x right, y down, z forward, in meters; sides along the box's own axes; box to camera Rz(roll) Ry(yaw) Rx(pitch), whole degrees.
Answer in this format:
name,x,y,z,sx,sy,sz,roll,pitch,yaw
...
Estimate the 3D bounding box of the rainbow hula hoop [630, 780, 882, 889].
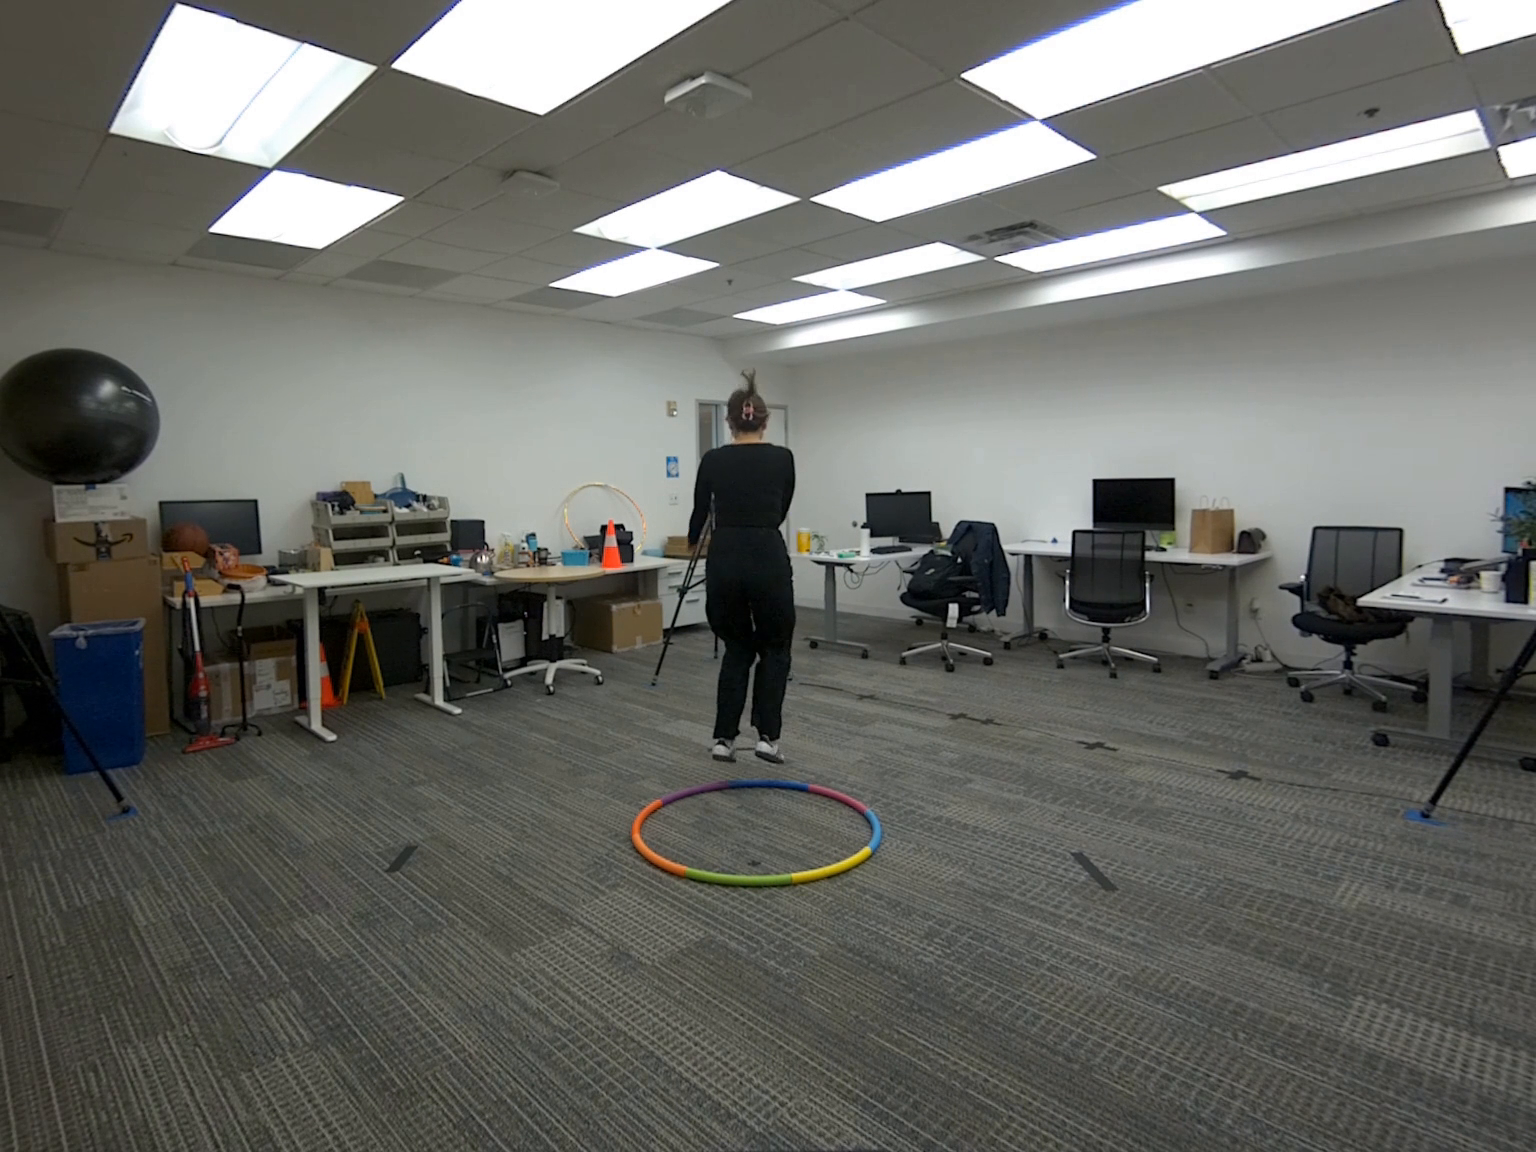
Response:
name,x,y,z,sx,sy,sz,roll,pitch,yaw
rainbow hula hoop,-0.047,0.982,3.402,0.978,0.035,0.984,-1,6,-2
